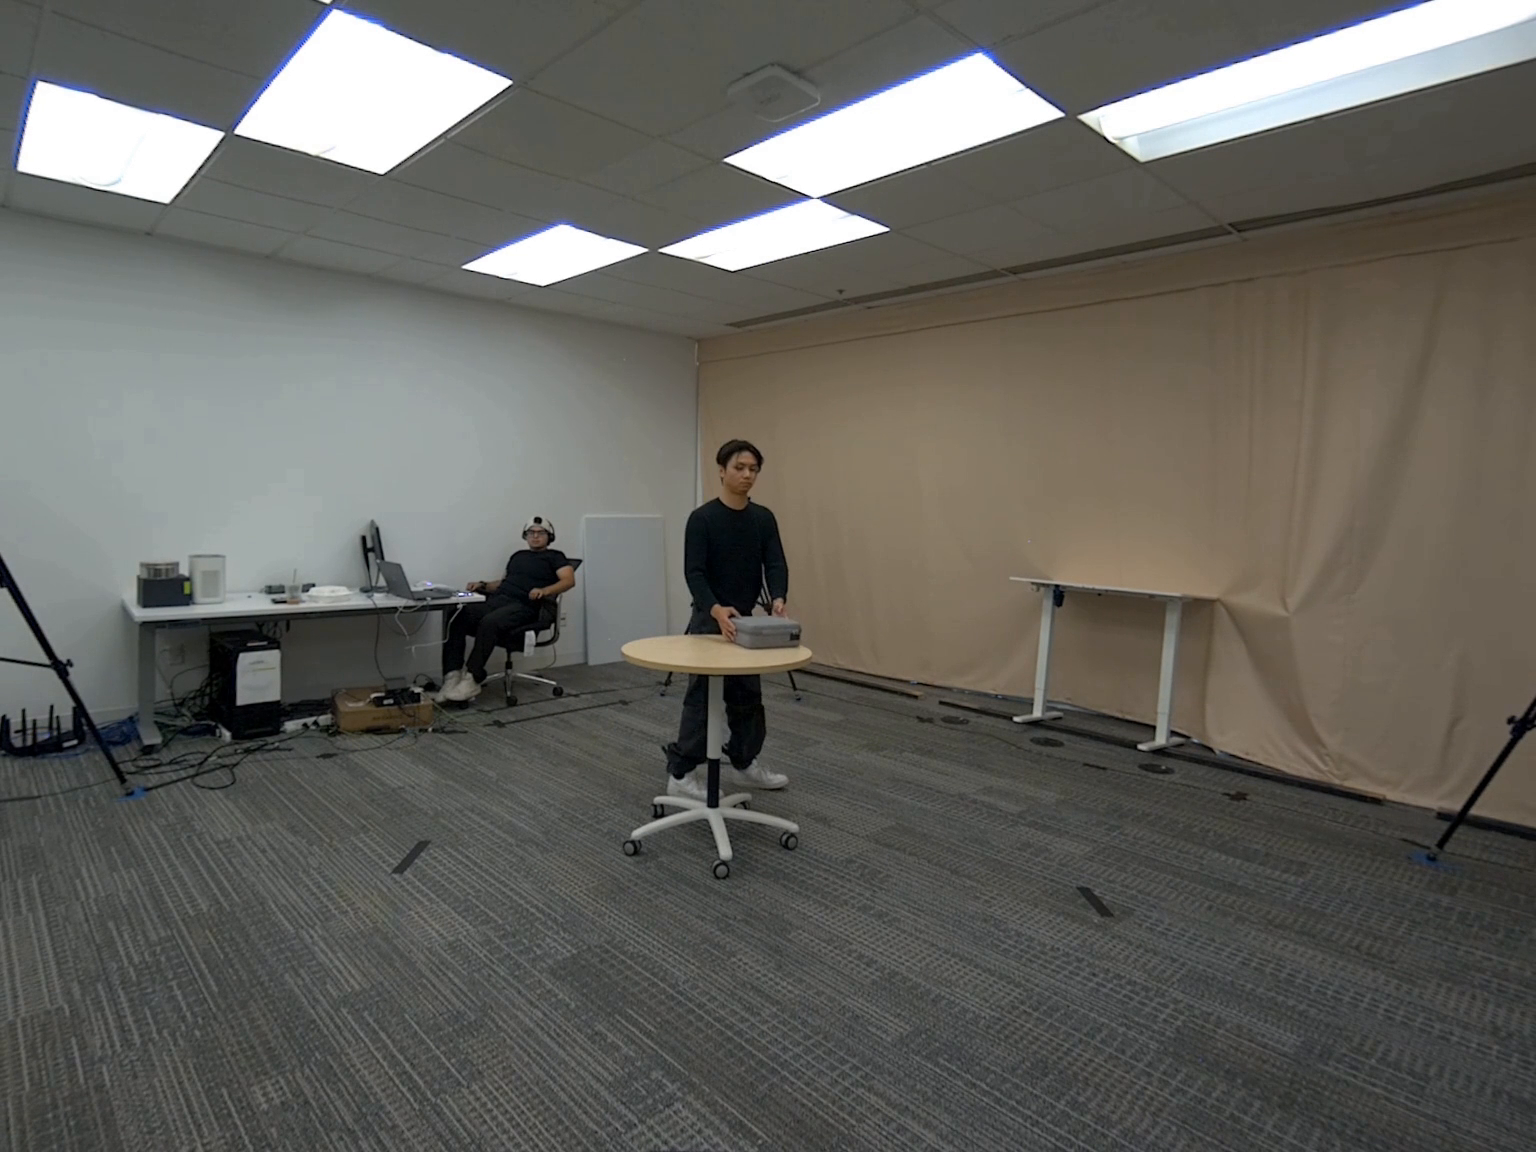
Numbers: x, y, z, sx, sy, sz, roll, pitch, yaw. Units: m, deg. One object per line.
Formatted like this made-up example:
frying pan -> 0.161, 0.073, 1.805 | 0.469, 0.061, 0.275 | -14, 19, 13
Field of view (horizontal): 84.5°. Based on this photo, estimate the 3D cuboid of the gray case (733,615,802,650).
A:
gray case -> -0.045, 0.234, 3.556 | 0.252, 0.104, 0.266 | -2, 6, -25
